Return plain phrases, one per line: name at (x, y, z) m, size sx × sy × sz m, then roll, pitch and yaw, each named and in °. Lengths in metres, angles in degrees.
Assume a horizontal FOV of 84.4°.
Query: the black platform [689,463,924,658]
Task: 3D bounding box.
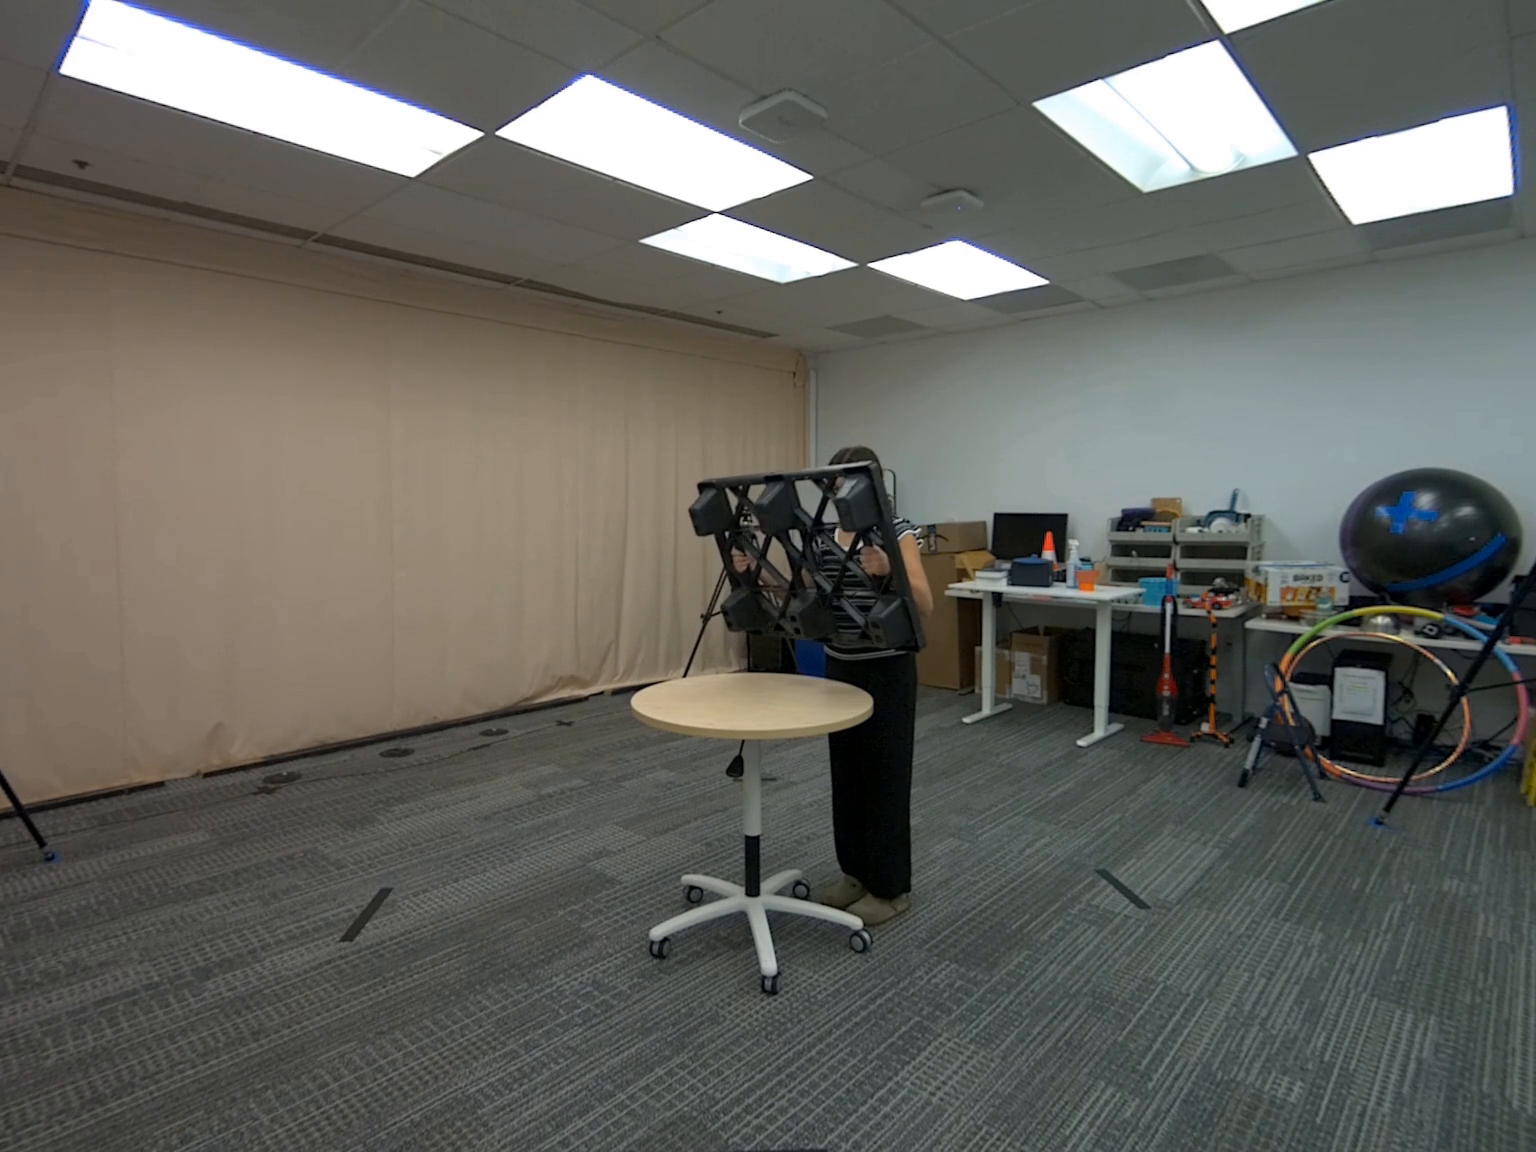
black platform at (0.080, -0.032, 2.727) m, size 0.141 × 0.597 × 0.831 m, roll -28°, pitch 19°, yaw -38°
